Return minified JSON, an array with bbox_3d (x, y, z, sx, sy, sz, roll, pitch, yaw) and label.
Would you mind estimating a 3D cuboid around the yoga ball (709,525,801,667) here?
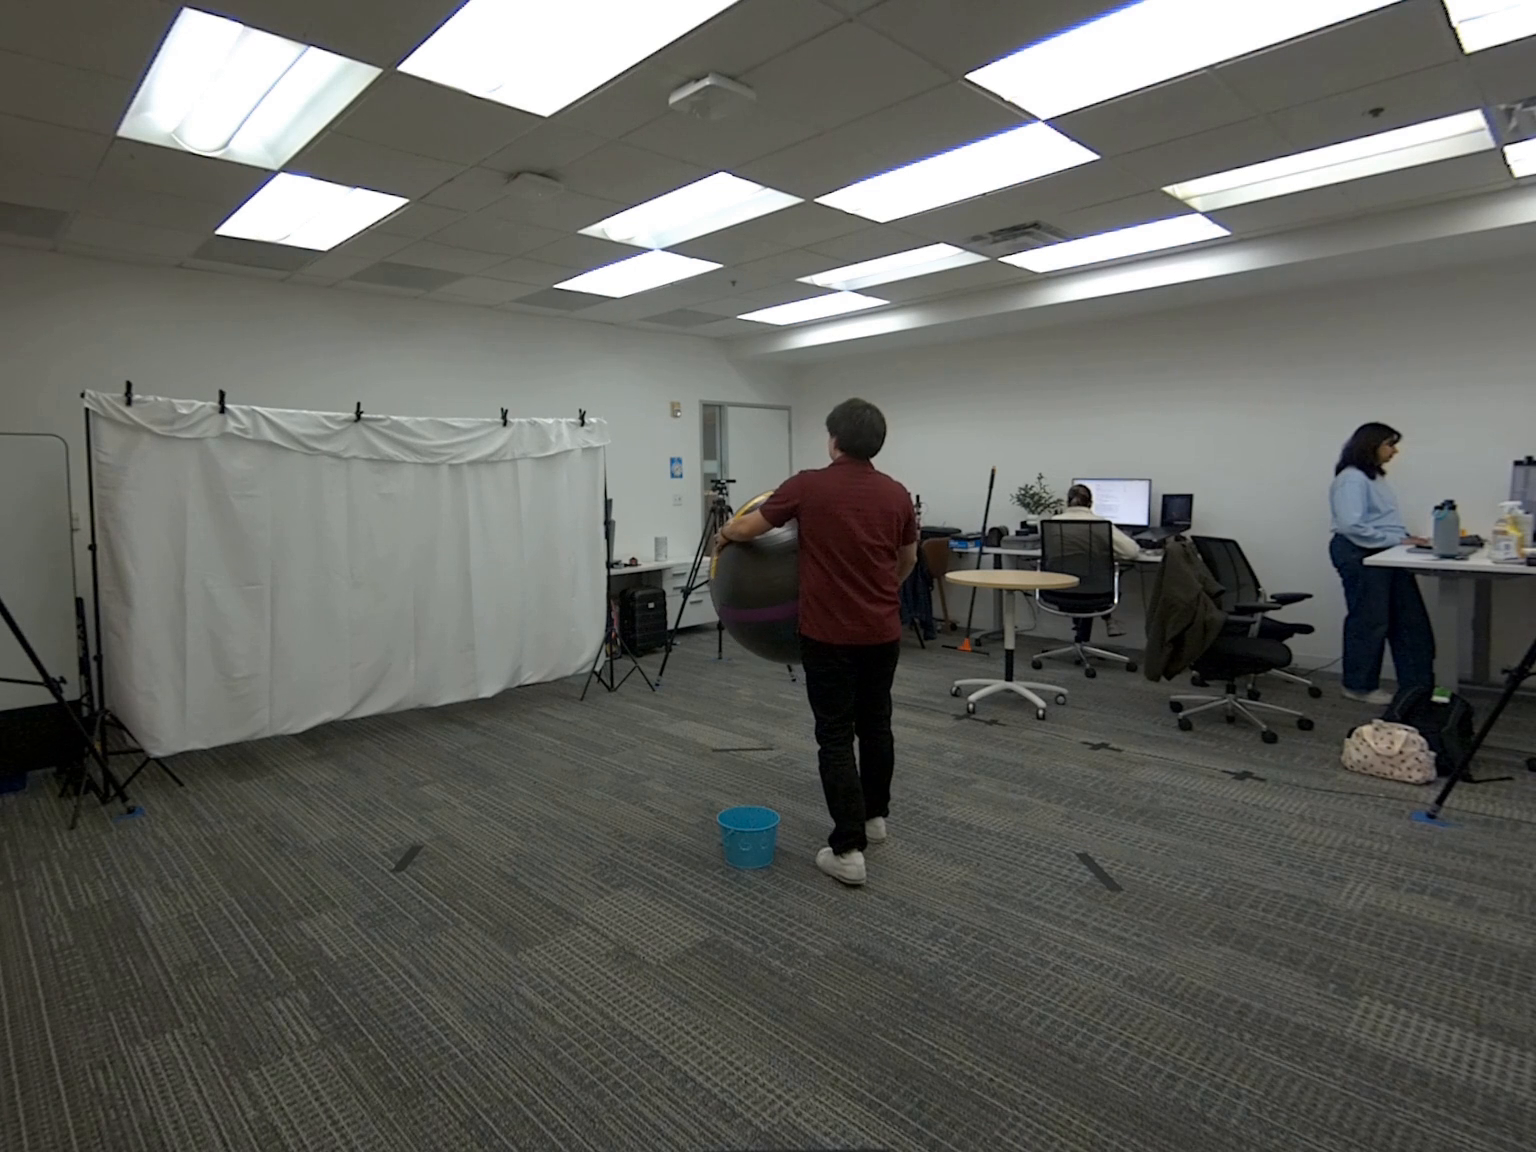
[{"bbox_3d":[0.127,0.003,3.653,0.757,0.755,0.762,-1,5,-2],"label":"yoga ball"}]
